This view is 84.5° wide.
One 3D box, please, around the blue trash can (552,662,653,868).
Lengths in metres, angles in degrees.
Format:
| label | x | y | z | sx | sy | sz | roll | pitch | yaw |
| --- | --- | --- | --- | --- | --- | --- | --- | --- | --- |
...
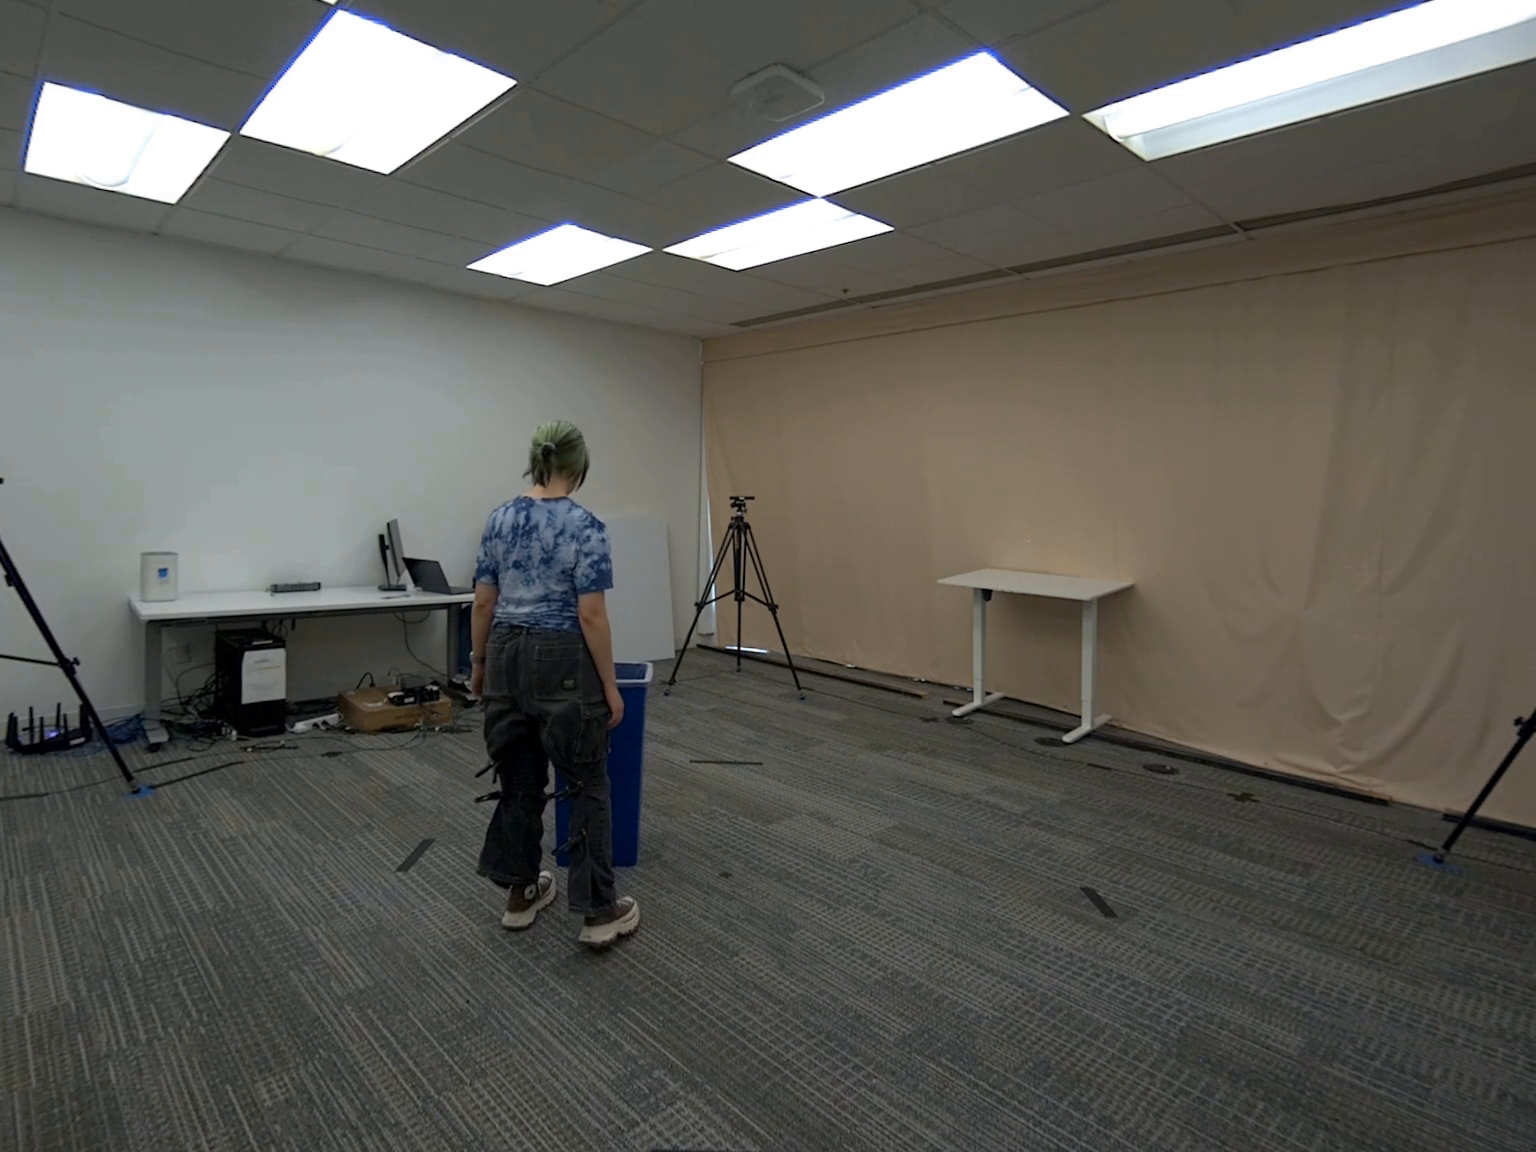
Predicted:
| label | x | y | z | sx | sy | sz | roll | pitch | yaw |
| --- | --- | --- | --- | --- | --- | --- | --- | --- | --- |
| blue trash can | -0.652 | 0.724 | 3.281 | 0.372 | 0.712 | 0.380 | 1 | 3 | -5 |
